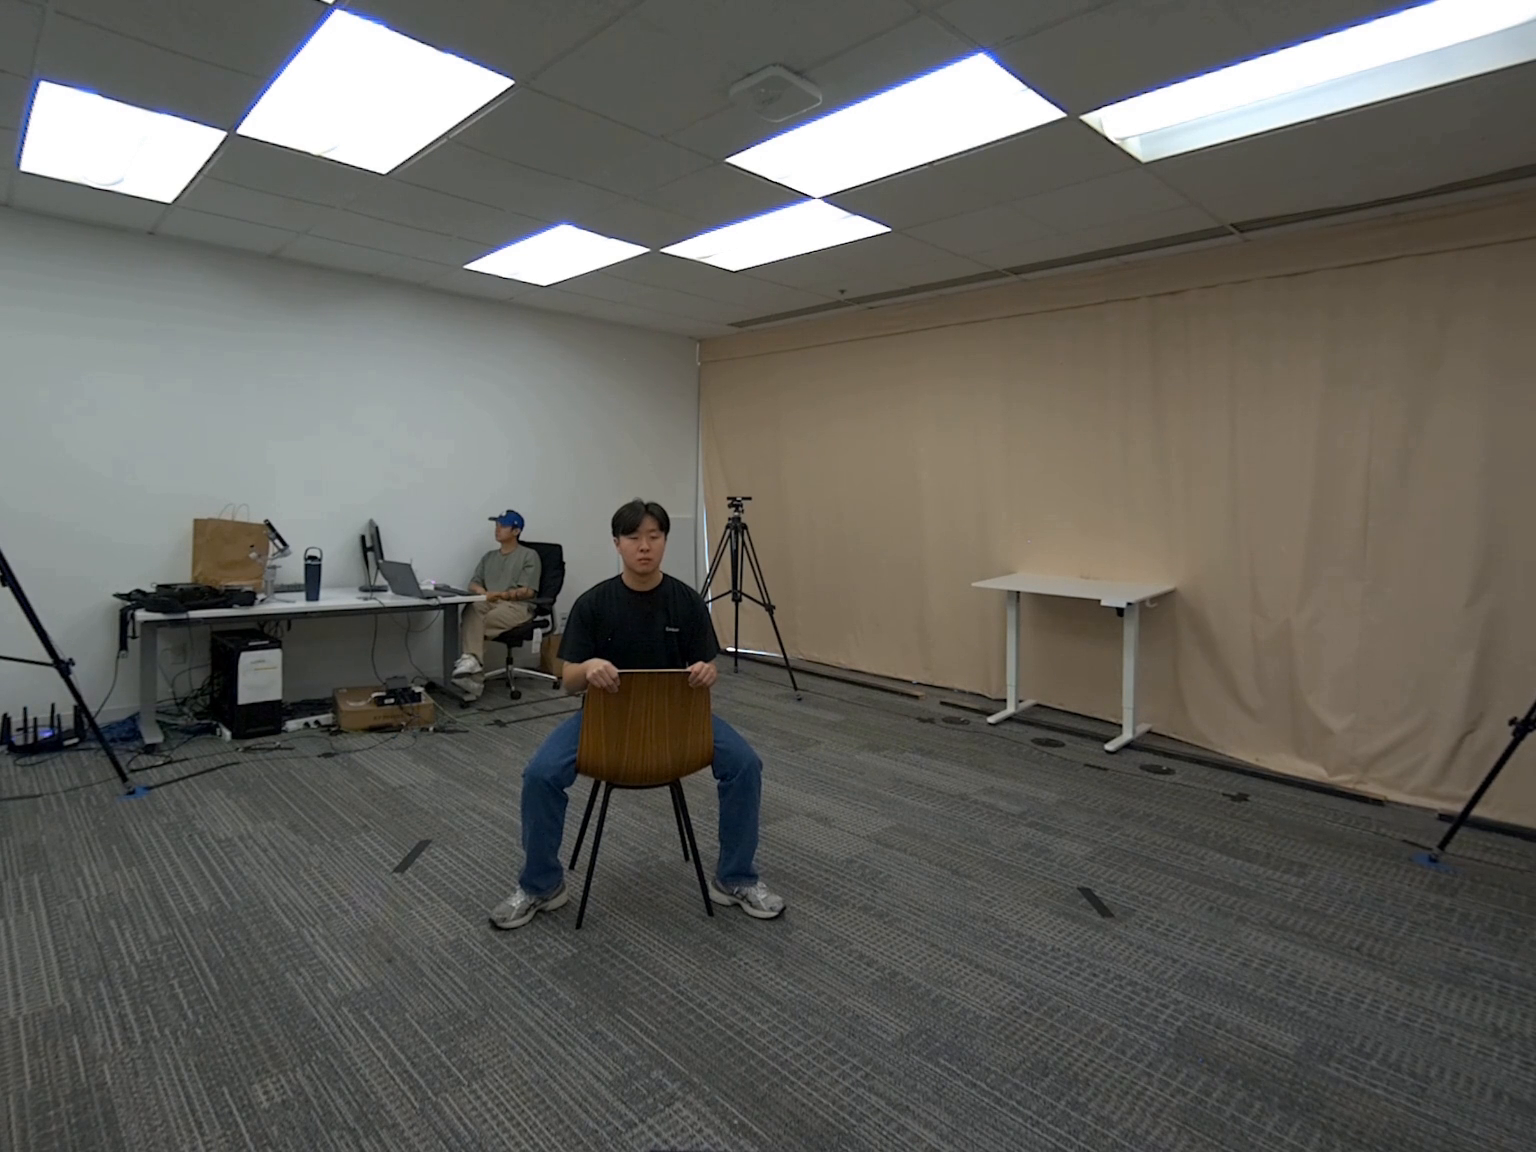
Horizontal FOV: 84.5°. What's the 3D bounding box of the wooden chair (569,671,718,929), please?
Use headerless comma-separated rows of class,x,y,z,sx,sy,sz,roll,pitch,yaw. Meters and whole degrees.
wooden chair,-0.452,0.690,2.943,0.473,0.873,0.531,0,7,-15
